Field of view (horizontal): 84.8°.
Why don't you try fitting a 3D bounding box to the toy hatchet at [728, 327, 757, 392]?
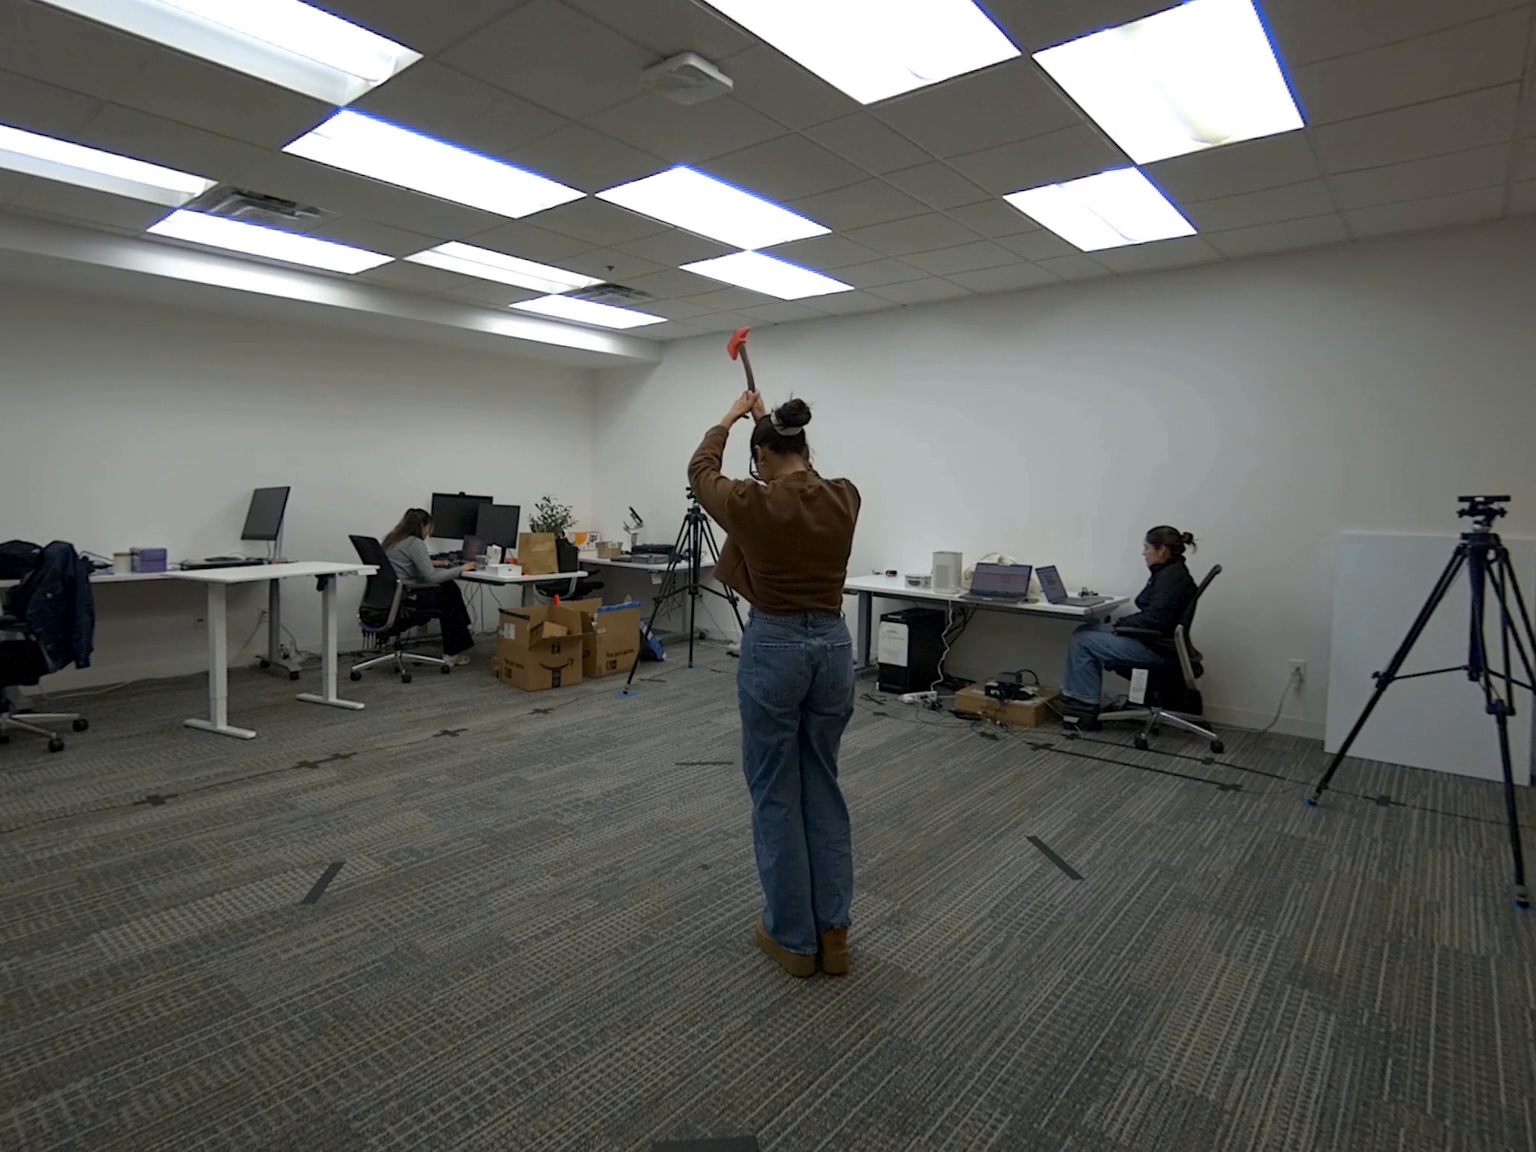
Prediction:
[{"bbox_3d":[-0.089,-0.705,2.862,0.029,0.270,0.135,-6,0,-37],"label":"toy hatchet"}]
